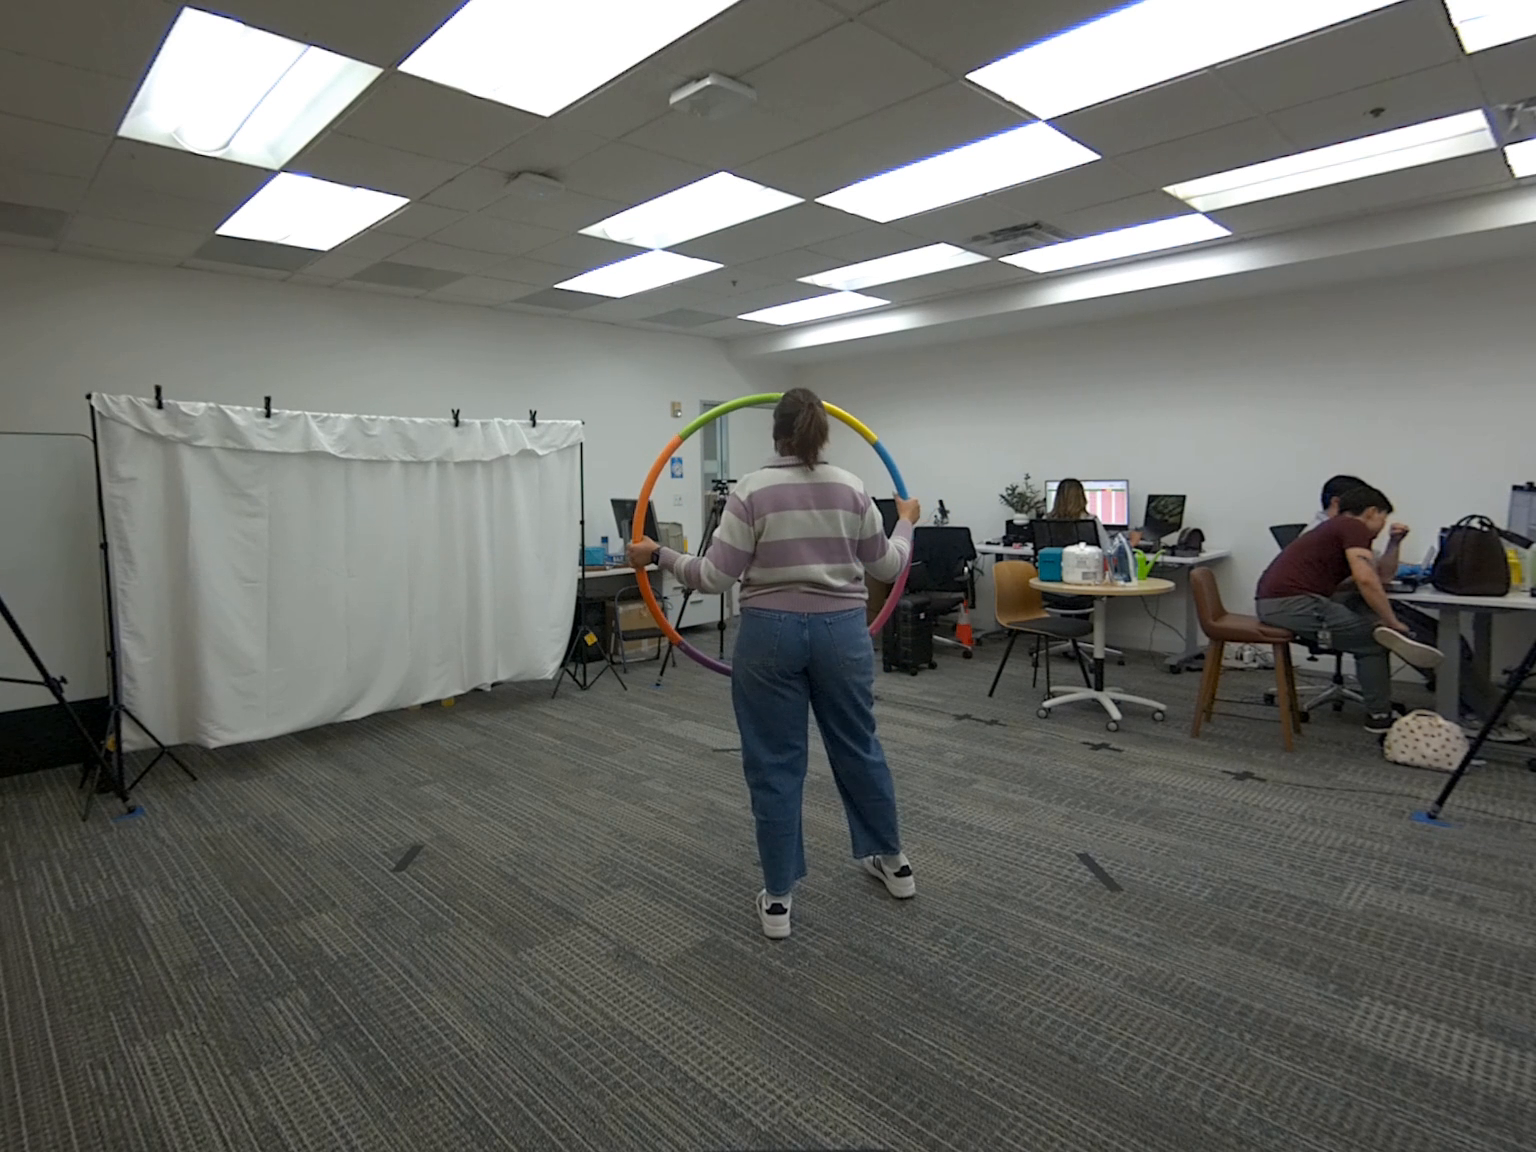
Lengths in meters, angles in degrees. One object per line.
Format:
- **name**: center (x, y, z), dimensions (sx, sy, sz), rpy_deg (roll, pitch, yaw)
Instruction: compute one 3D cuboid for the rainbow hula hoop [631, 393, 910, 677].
- **rainbow hula hoop**: center (0.030, -0.122, 2.905), dimensions (0.968, 0.972, 0.036), rpy_deg (-2, 7, -12)
